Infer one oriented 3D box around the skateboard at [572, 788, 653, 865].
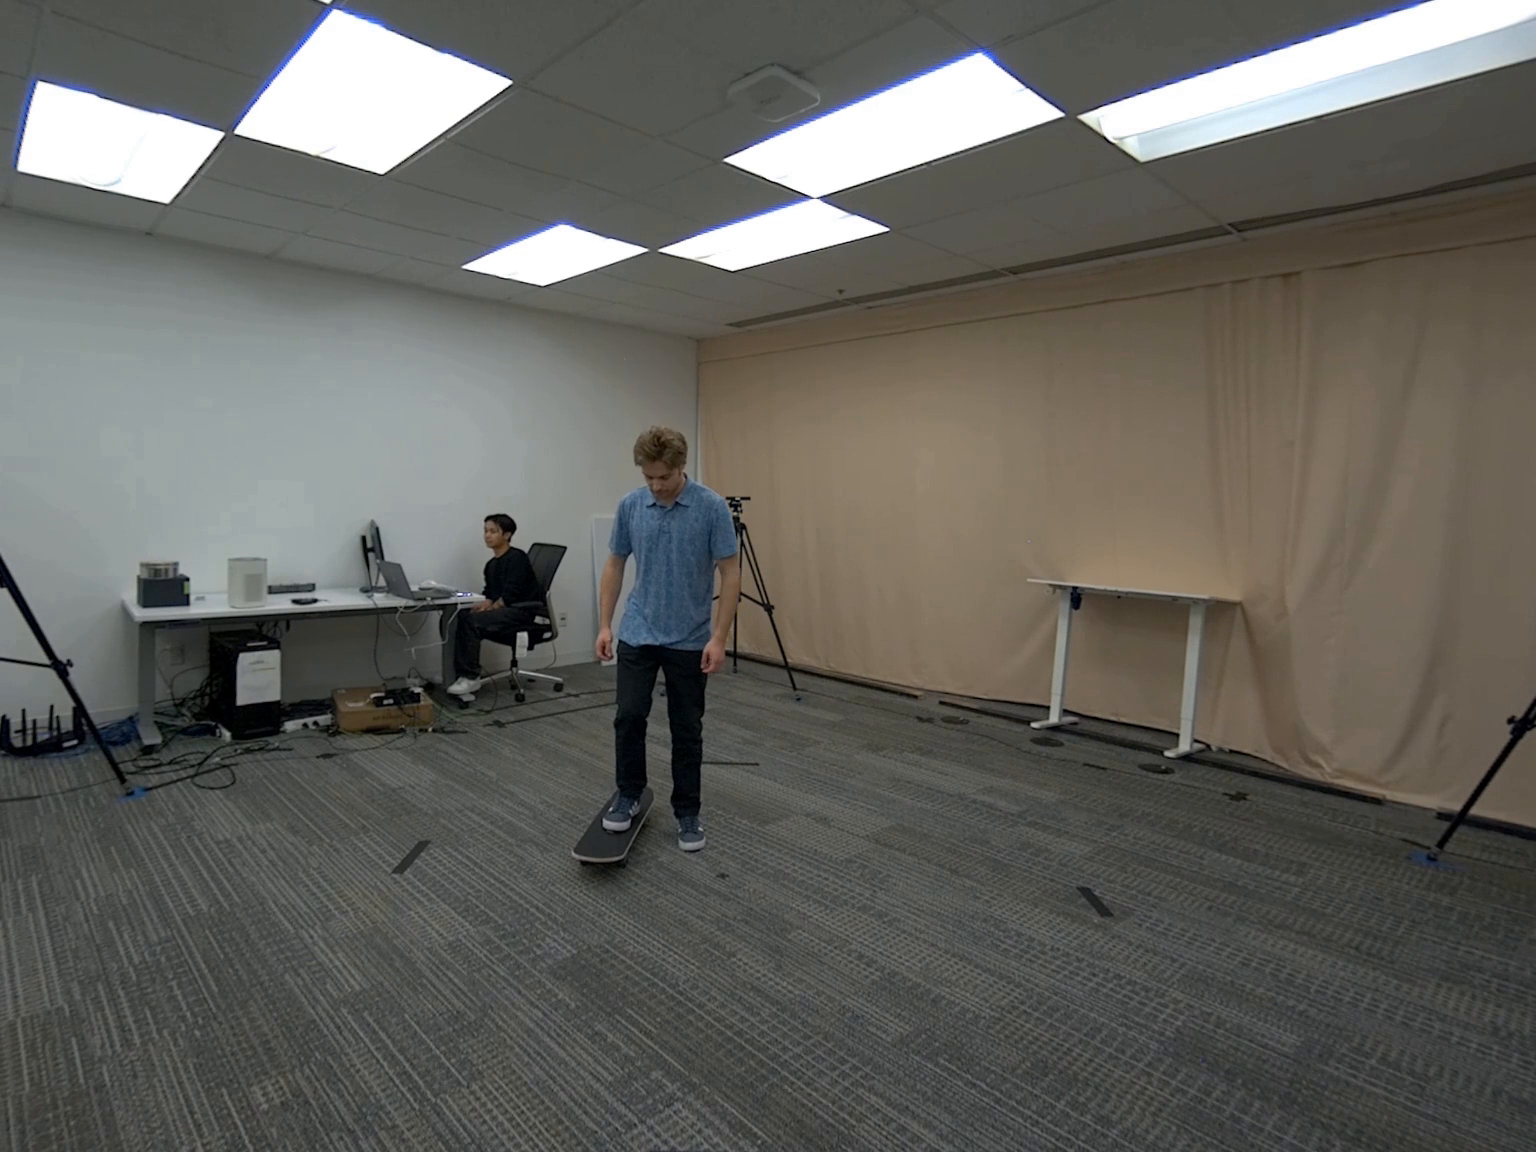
[{"bbox_3d":[-0.606,1.013,3.366,0.194,0.110,0.784,4,5,3],"label":"skateboard"}]
